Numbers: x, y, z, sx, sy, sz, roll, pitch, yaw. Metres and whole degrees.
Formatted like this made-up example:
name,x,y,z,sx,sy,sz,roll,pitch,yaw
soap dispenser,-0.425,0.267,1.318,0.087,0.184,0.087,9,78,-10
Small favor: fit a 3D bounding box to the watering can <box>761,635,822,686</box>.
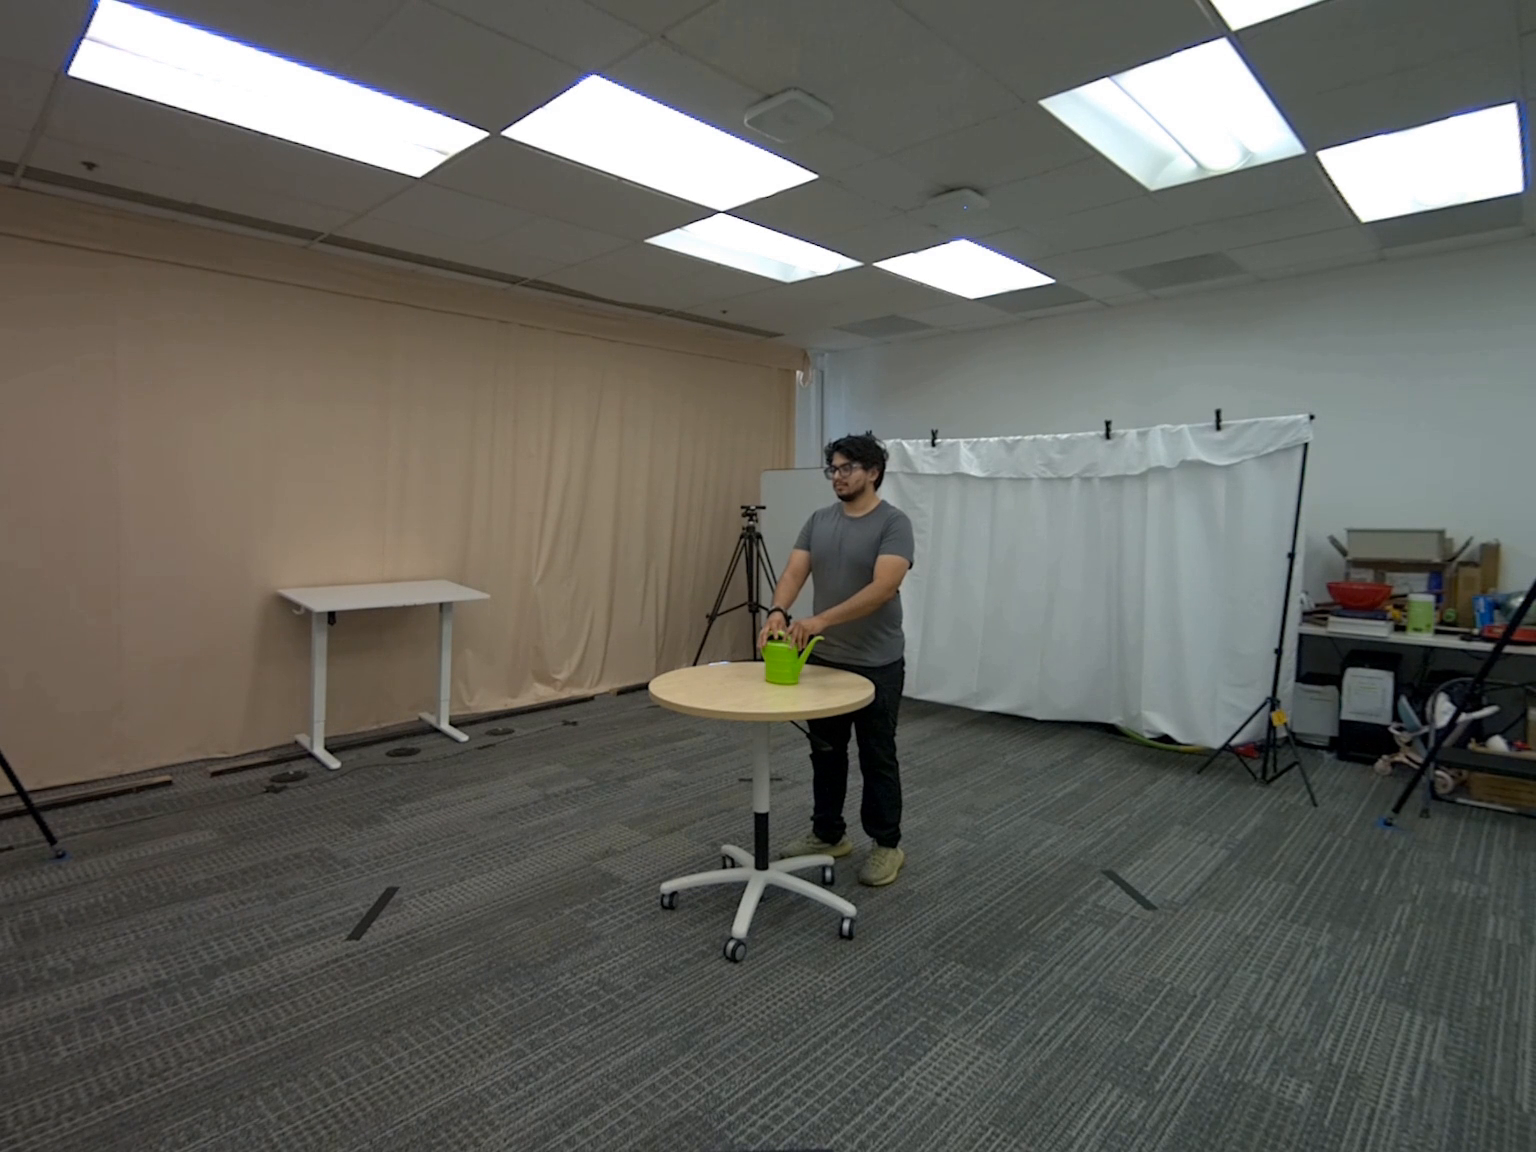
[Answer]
name,x,y,z,sx,sy,sz,roll,pitch,yaw
watering can,0.074,0.282,2.872,0.095,0.176,0.287,-2,2,-34
